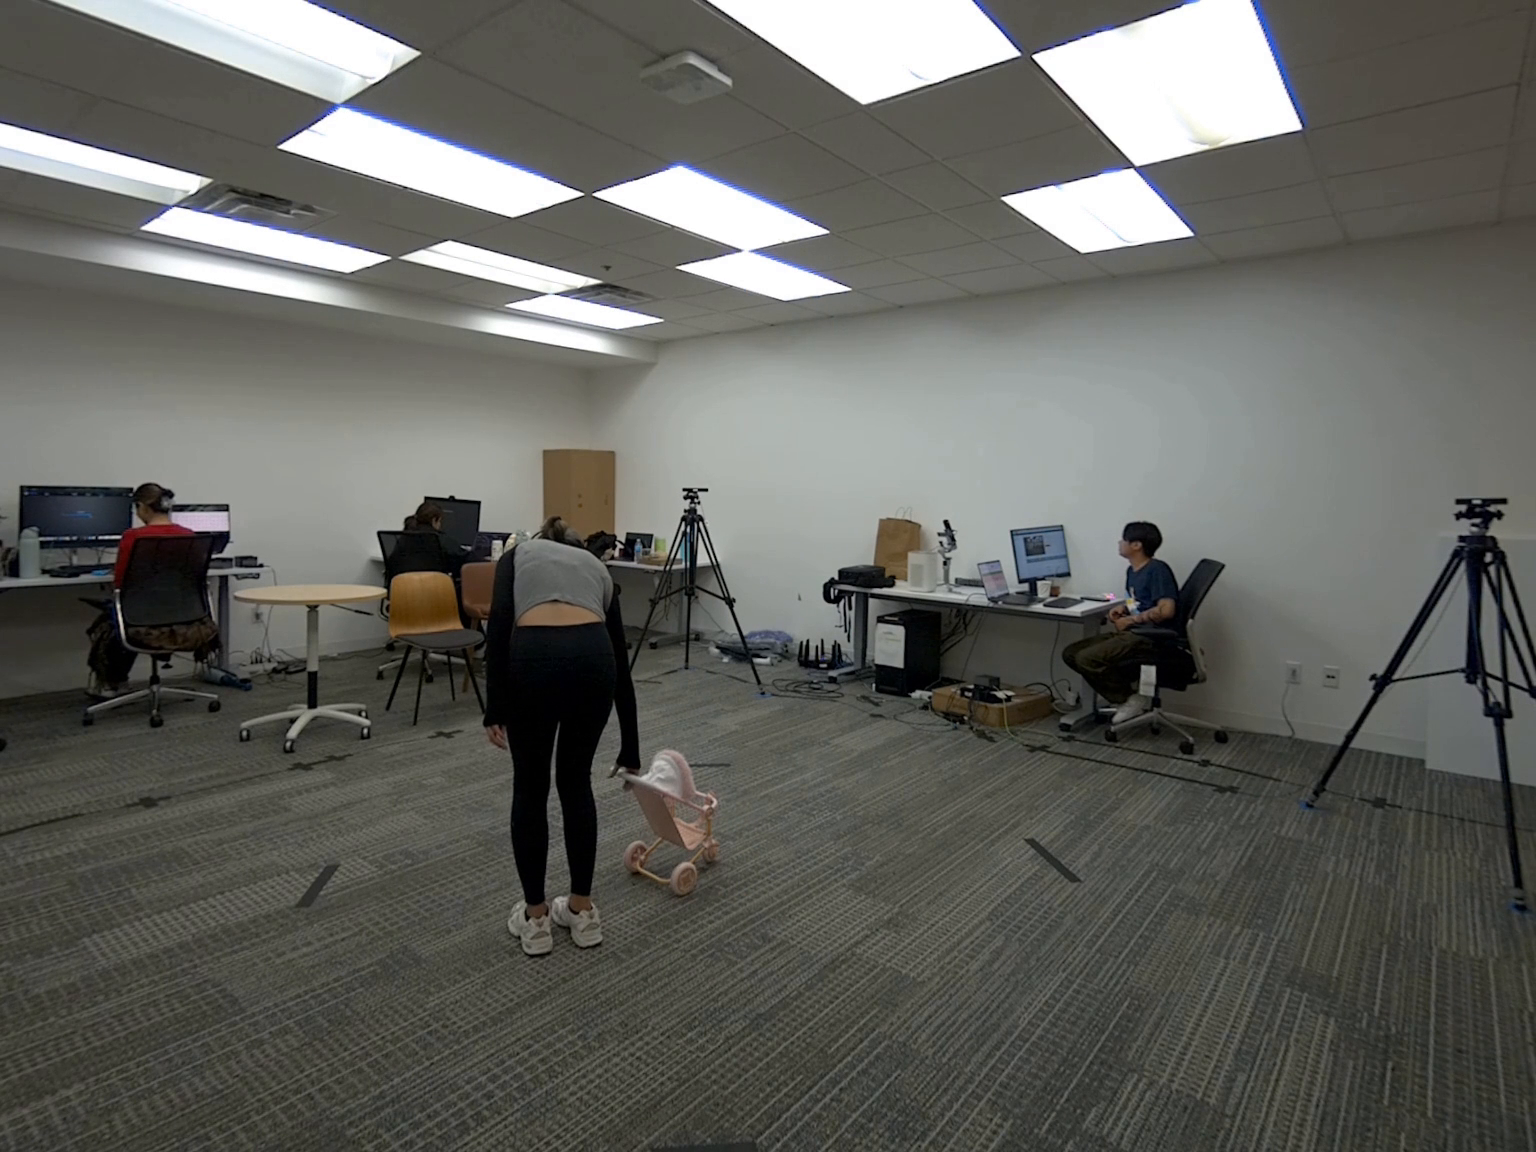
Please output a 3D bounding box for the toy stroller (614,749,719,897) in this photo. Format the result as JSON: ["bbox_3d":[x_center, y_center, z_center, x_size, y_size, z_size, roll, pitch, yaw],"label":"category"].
[{"bbox_3d":[-0.348,0.850,3.029,0.335,0.527,0.291,-23,18,-40],"label":"toy stroller"}]
